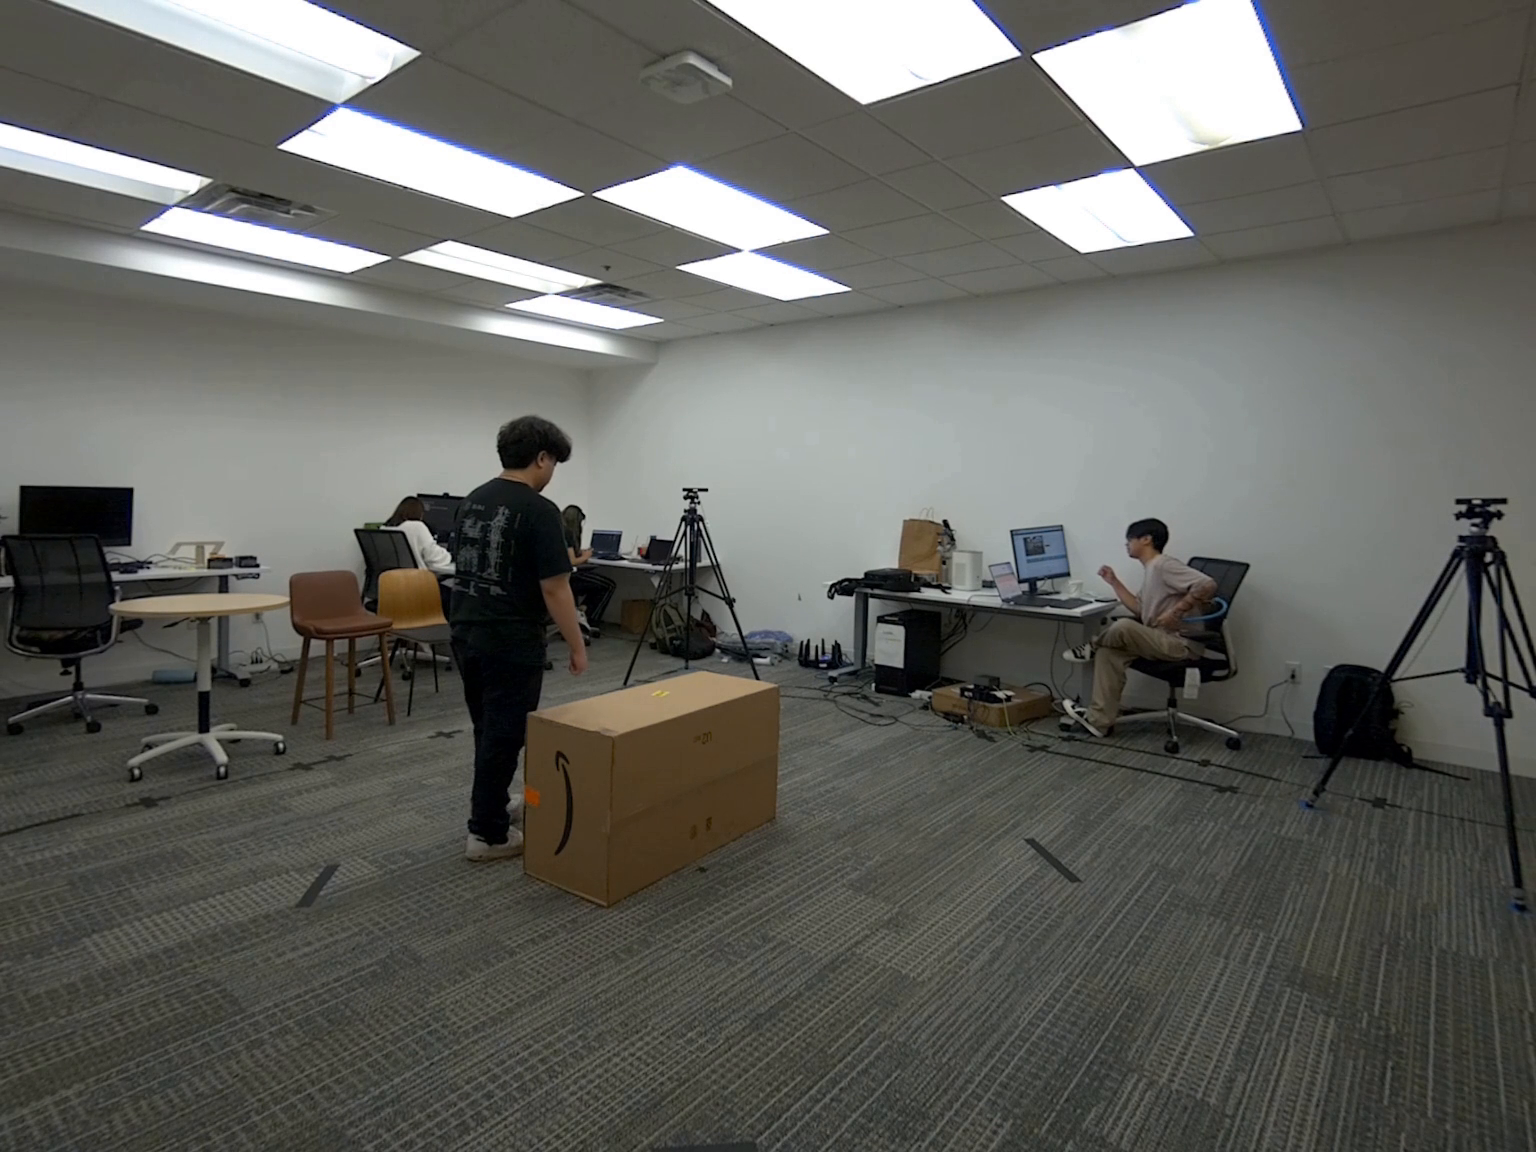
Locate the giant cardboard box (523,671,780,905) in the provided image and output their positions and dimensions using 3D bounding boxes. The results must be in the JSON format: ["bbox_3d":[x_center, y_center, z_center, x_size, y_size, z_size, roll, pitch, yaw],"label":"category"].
[{"bbox_3d":[-0.424,0.759,3.320,0.461,0.582,0.998,3,4,34],"label":"giant cardboard box"}]
